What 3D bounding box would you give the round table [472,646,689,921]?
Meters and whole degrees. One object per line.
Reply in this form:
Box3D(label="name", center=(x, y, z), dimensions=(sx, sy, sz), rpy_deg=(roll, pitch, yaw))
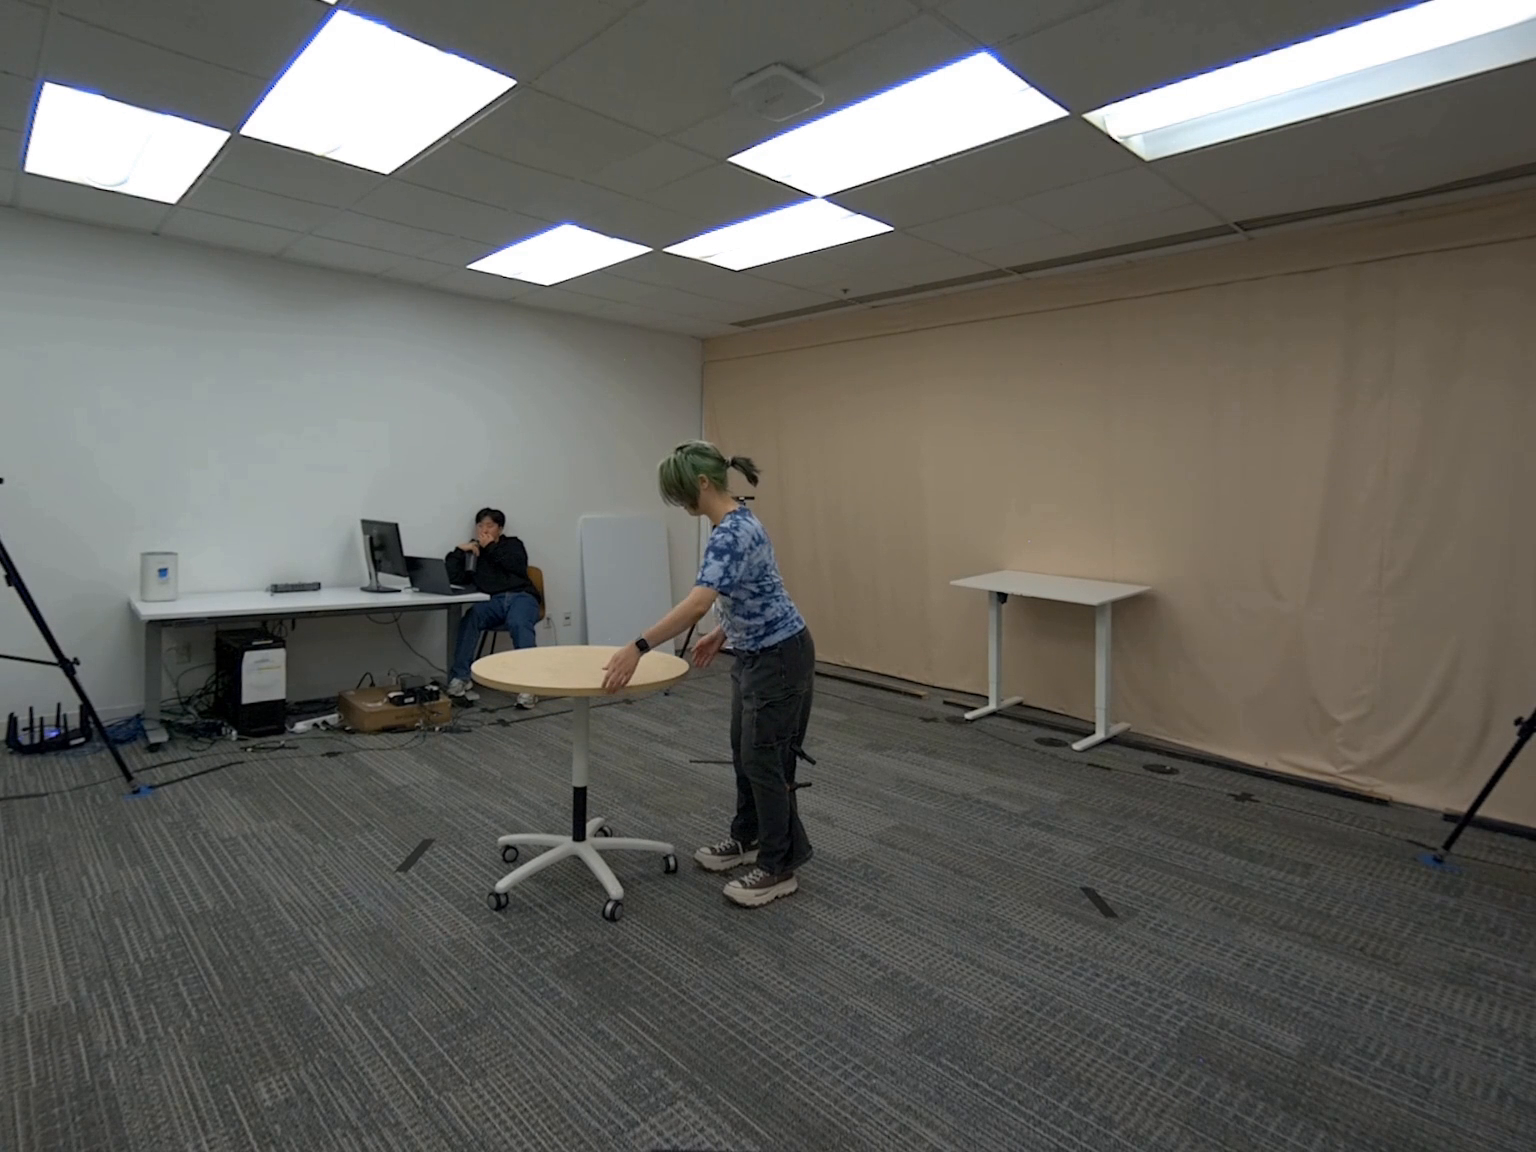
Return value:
Box3D(label="round table", center=(-0.677, 0.709, 3.038), dimensions=(0.763, 0.792, 0.766), rpy_deg=(1, 4, -1))
